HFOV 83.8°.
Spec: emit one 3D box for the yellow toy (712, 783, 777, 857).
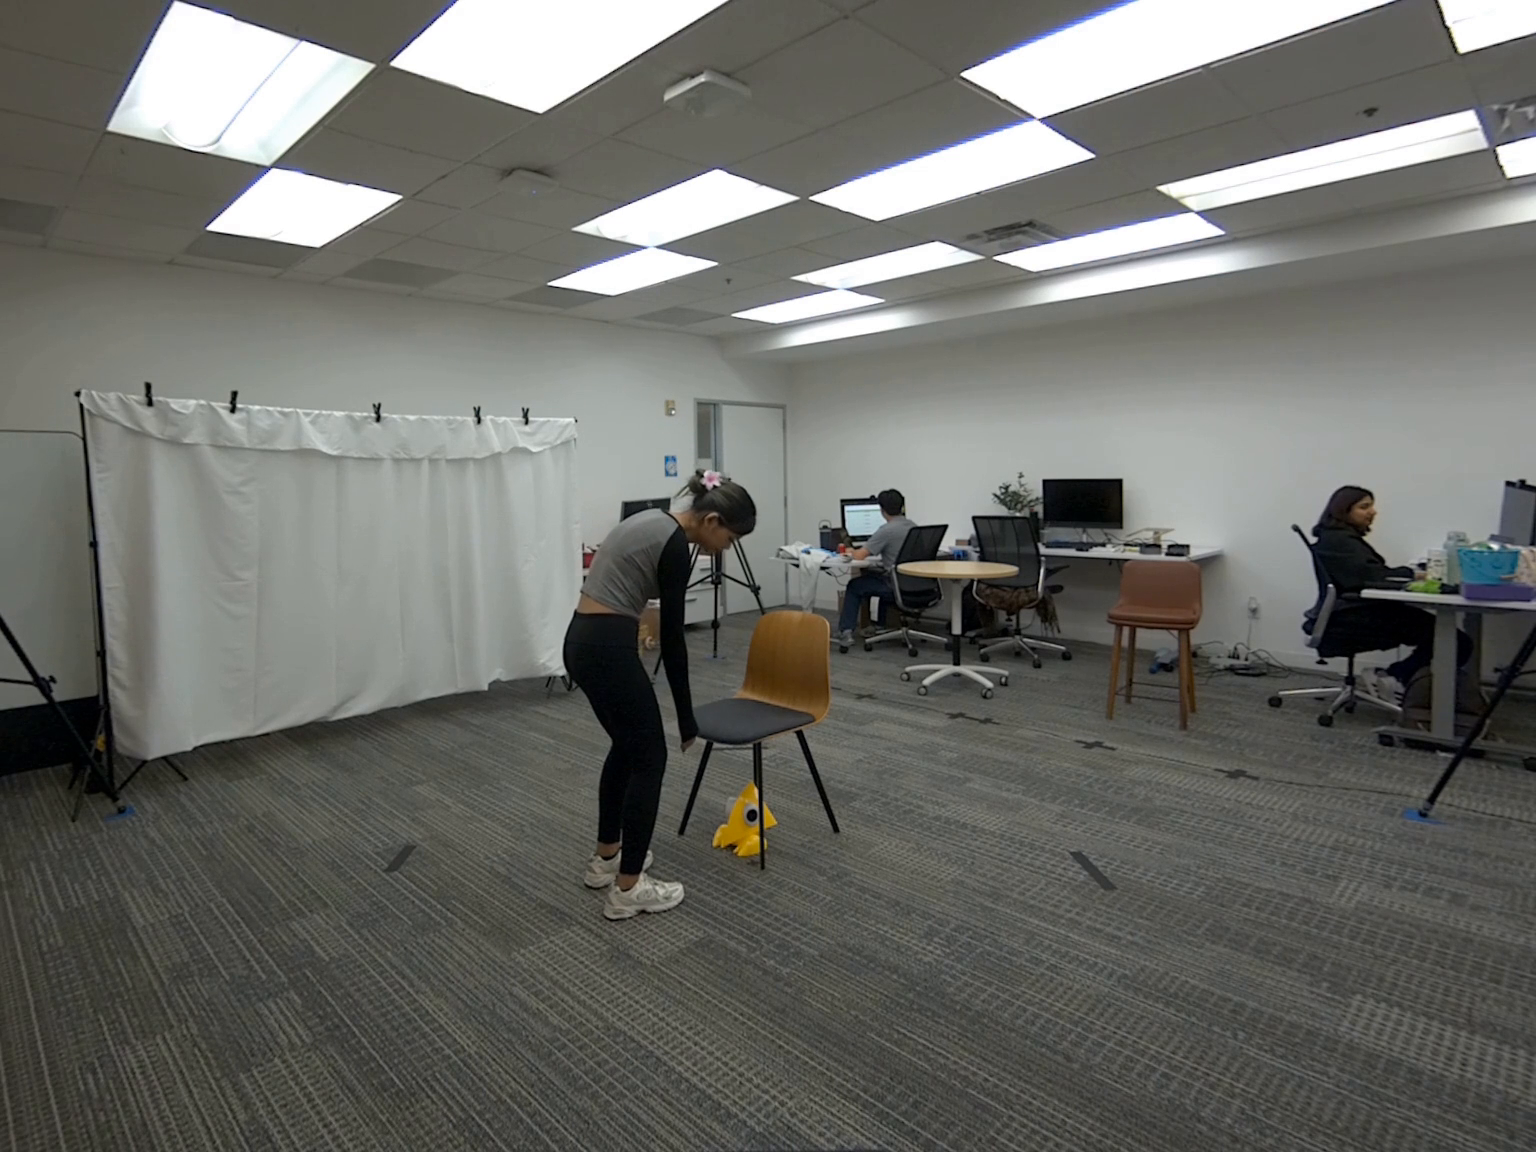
[{"bbox_3d":[-0.096,0.916,3.260,0.211,0.230,0.188,5,6,42],"label":"yellow toy"}]
